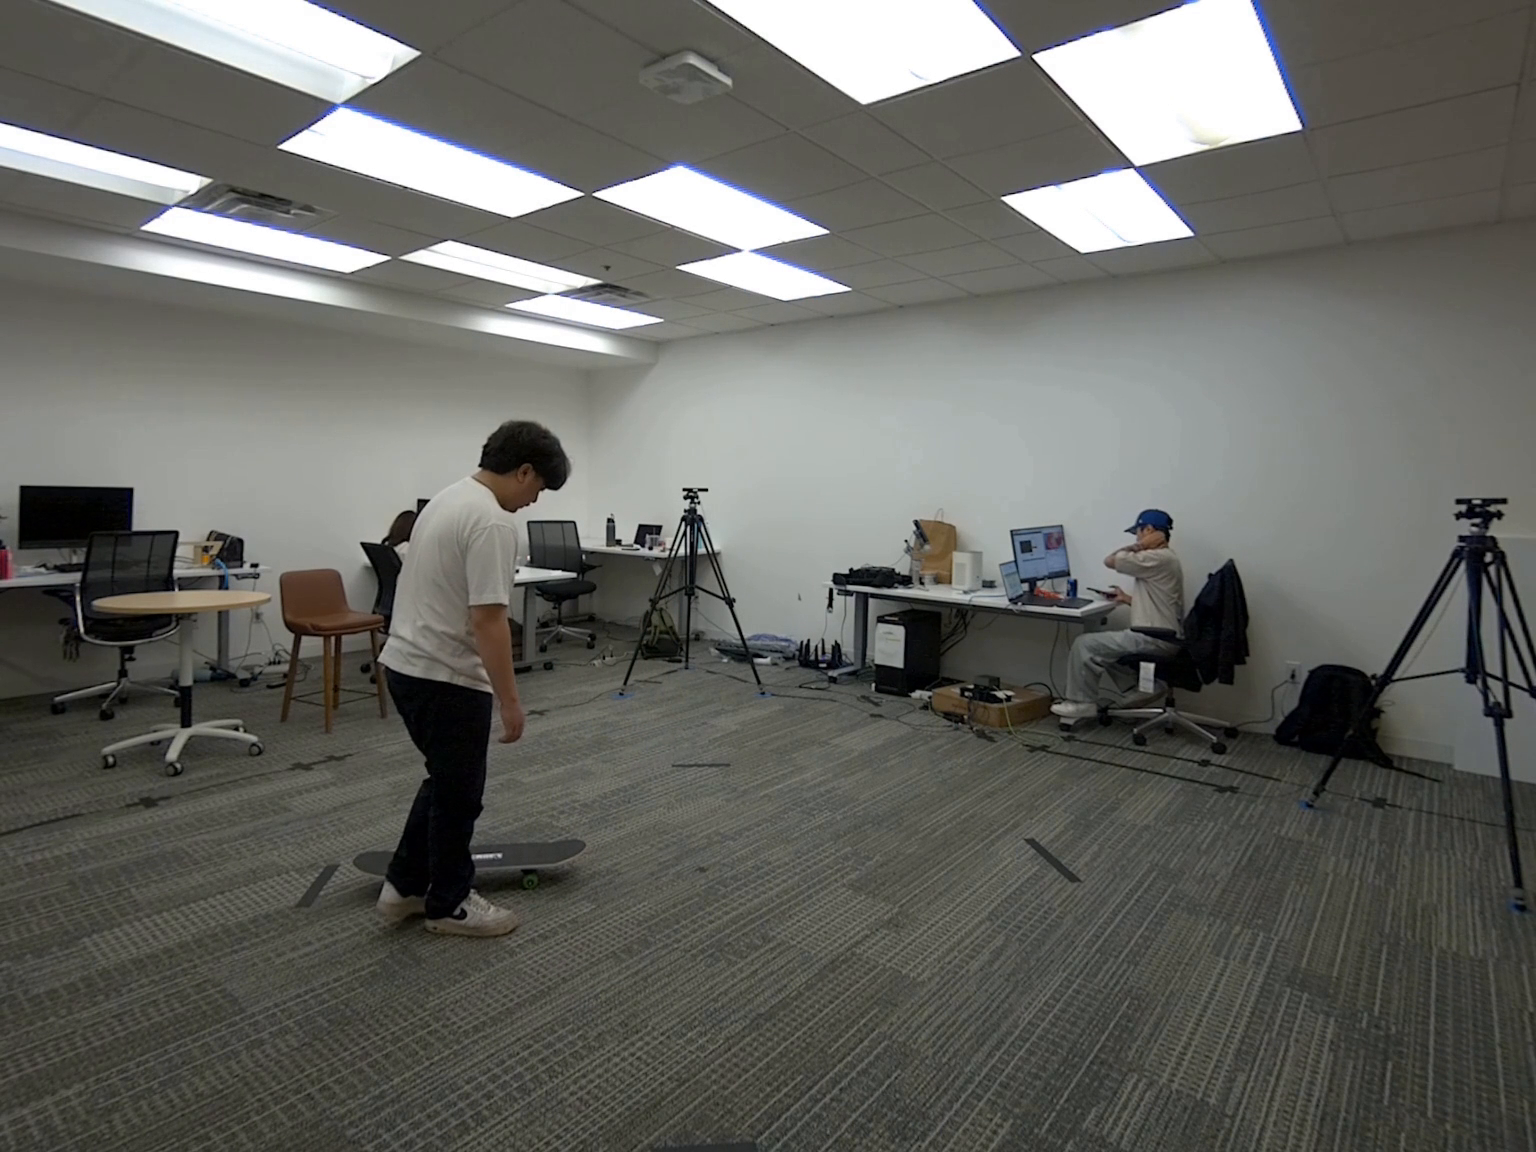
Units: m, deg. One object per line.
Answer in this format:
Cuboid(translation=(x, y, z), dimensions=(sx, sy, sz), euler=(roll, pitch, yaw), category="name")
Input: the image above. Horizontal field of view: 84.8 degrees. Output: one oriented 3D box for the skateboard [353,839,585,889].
Cuboid(translation=(-1.037, 1.011, 2.972), dimensions=(0.776, 0.110, 0.196), euler=(0, 5, -11), category="skateboard")
